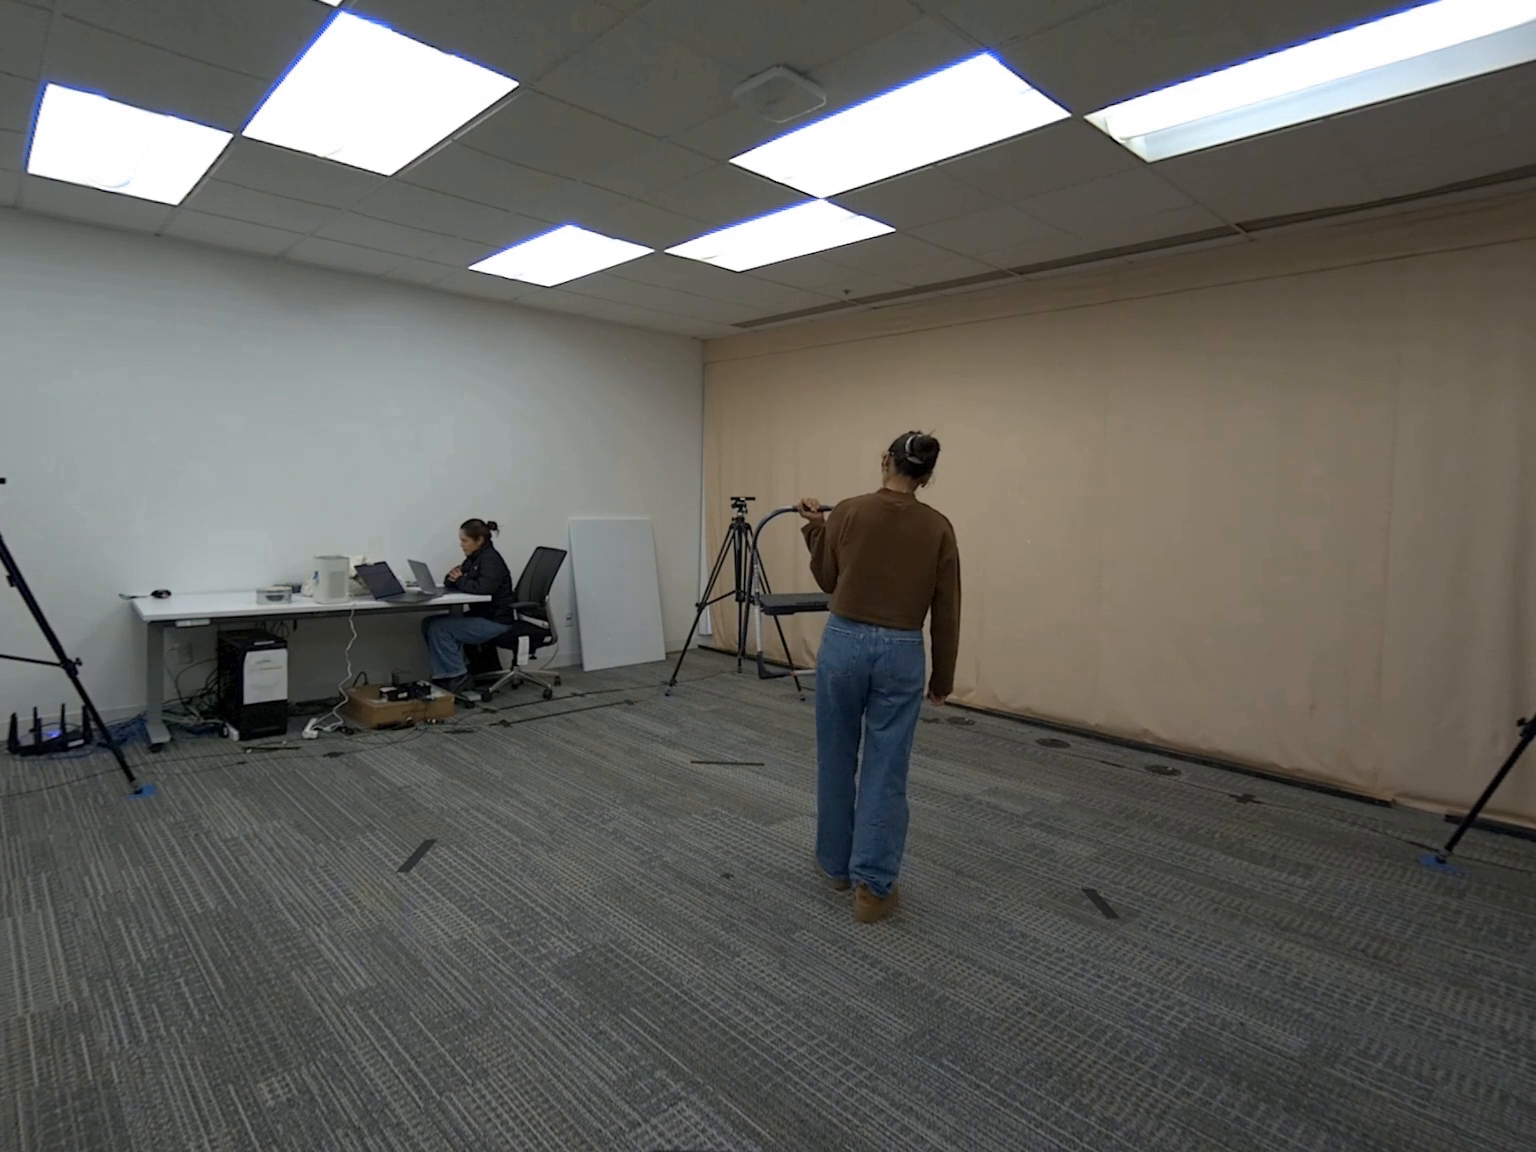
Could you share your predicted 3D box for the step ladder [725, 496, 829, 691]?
[{"bbox_3d":[0.122,0.037,3.131,0.427,0.602,0.354,-2,8,-12],"label":"step ladder"}]
